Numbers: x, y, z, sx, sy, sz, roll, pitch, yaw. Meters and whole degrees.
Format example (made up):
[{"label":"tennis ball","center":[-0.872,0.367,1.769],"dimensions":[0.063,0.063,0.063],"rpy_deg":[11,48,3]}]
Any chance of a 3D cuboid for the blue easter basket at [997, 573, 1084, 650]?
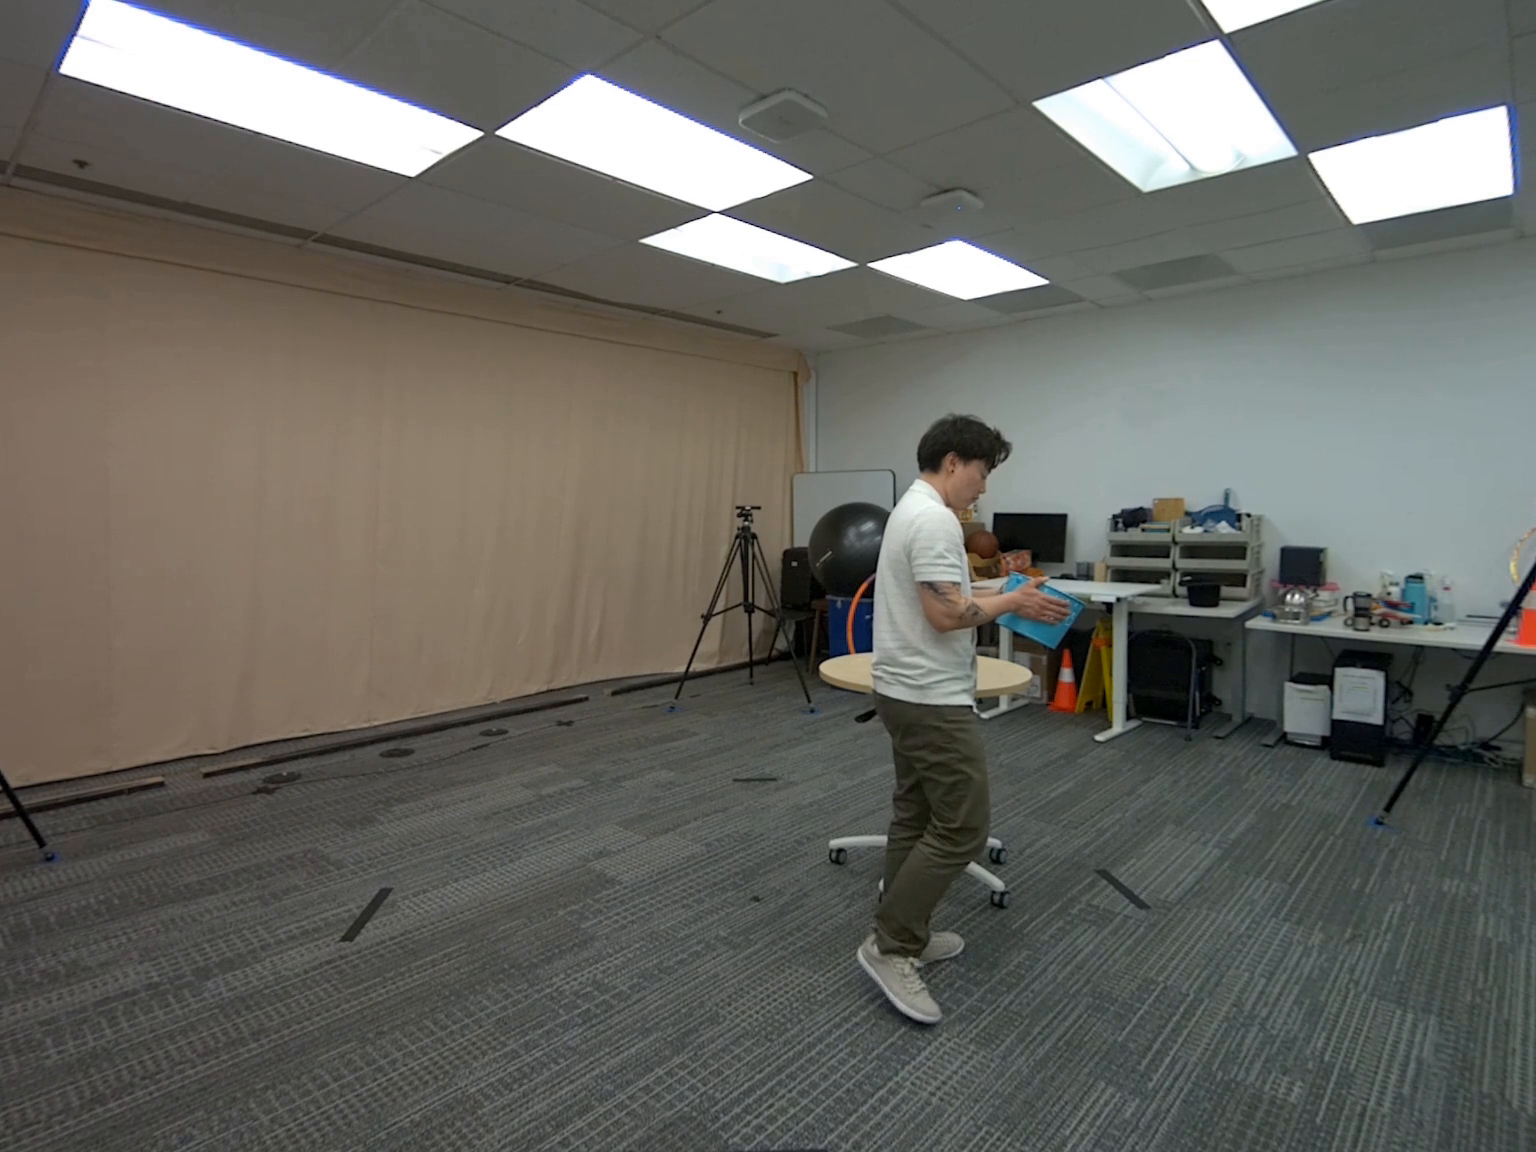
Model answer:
[{"label":"blue easter basket","center":[0.802,0.108,2.472],"dimensions":[0.243,0.156,0.244],"rpy_deg":[24,2,-3]}]
